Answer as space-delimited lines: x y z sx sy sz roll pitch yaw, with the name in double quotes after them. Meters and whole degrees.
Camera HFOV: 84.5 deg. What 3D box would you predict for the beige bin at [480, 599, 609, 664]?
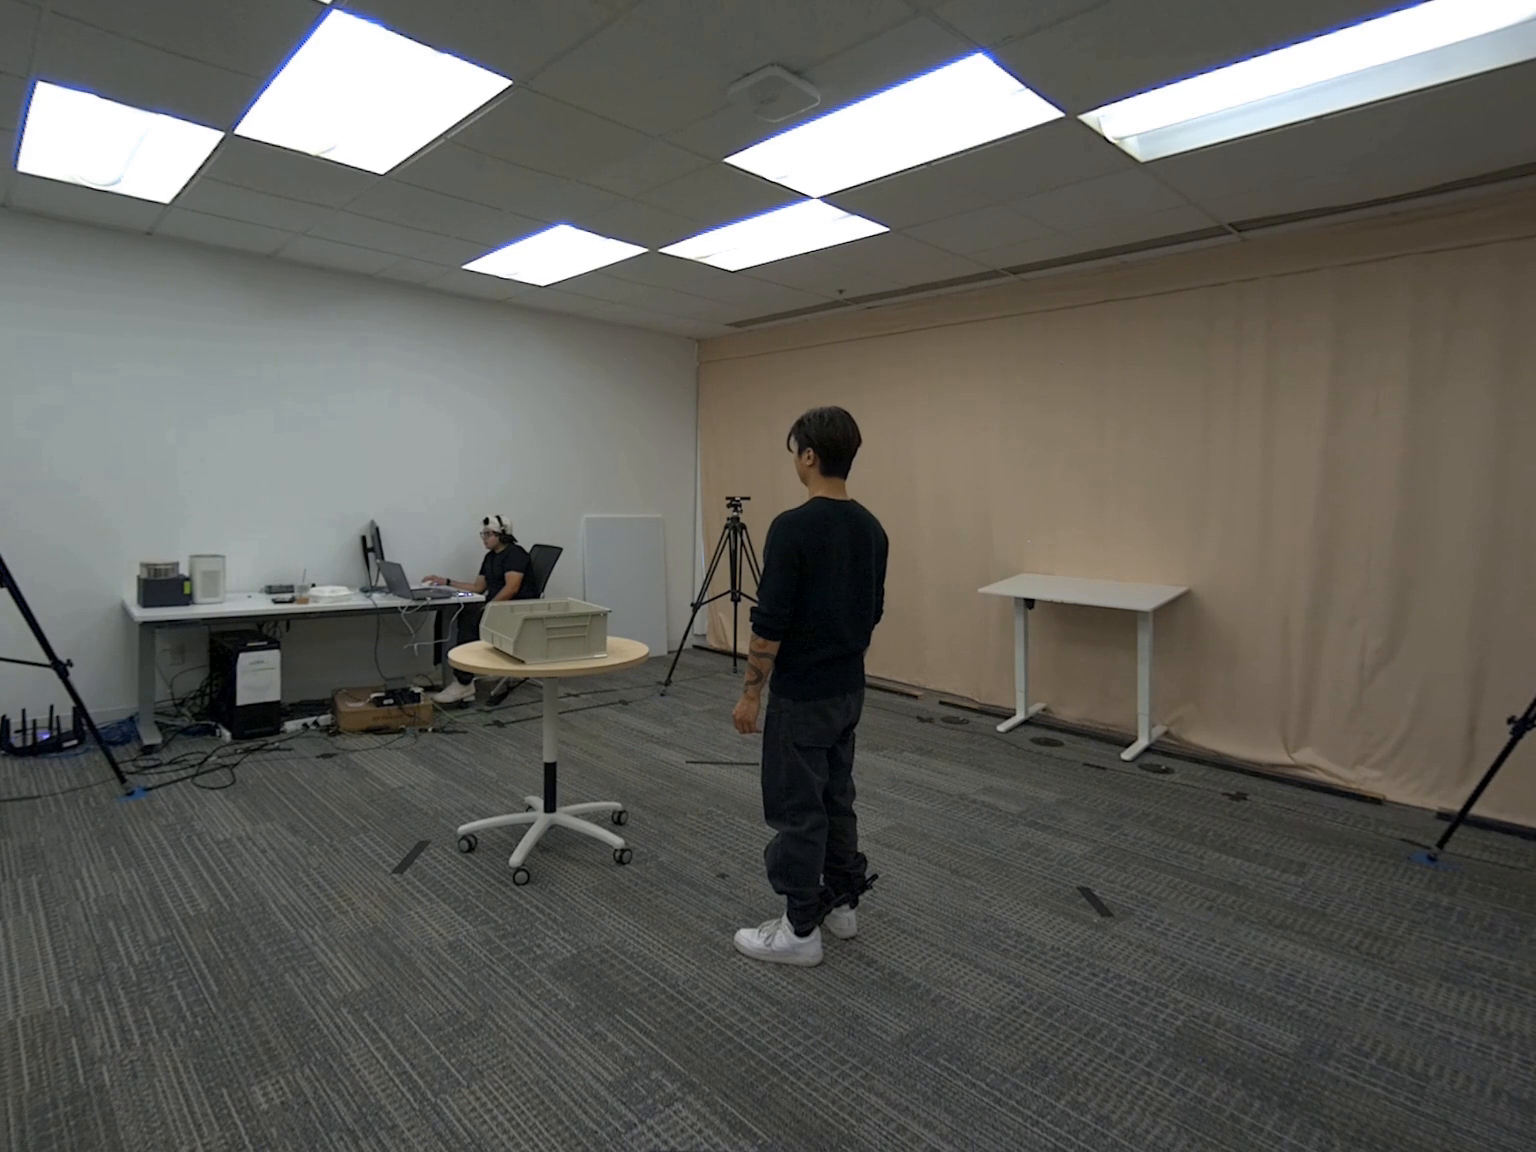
-0.868 0.205 3.236 0.369 0.188 0.432 -1 5 -35 "beige bin"
